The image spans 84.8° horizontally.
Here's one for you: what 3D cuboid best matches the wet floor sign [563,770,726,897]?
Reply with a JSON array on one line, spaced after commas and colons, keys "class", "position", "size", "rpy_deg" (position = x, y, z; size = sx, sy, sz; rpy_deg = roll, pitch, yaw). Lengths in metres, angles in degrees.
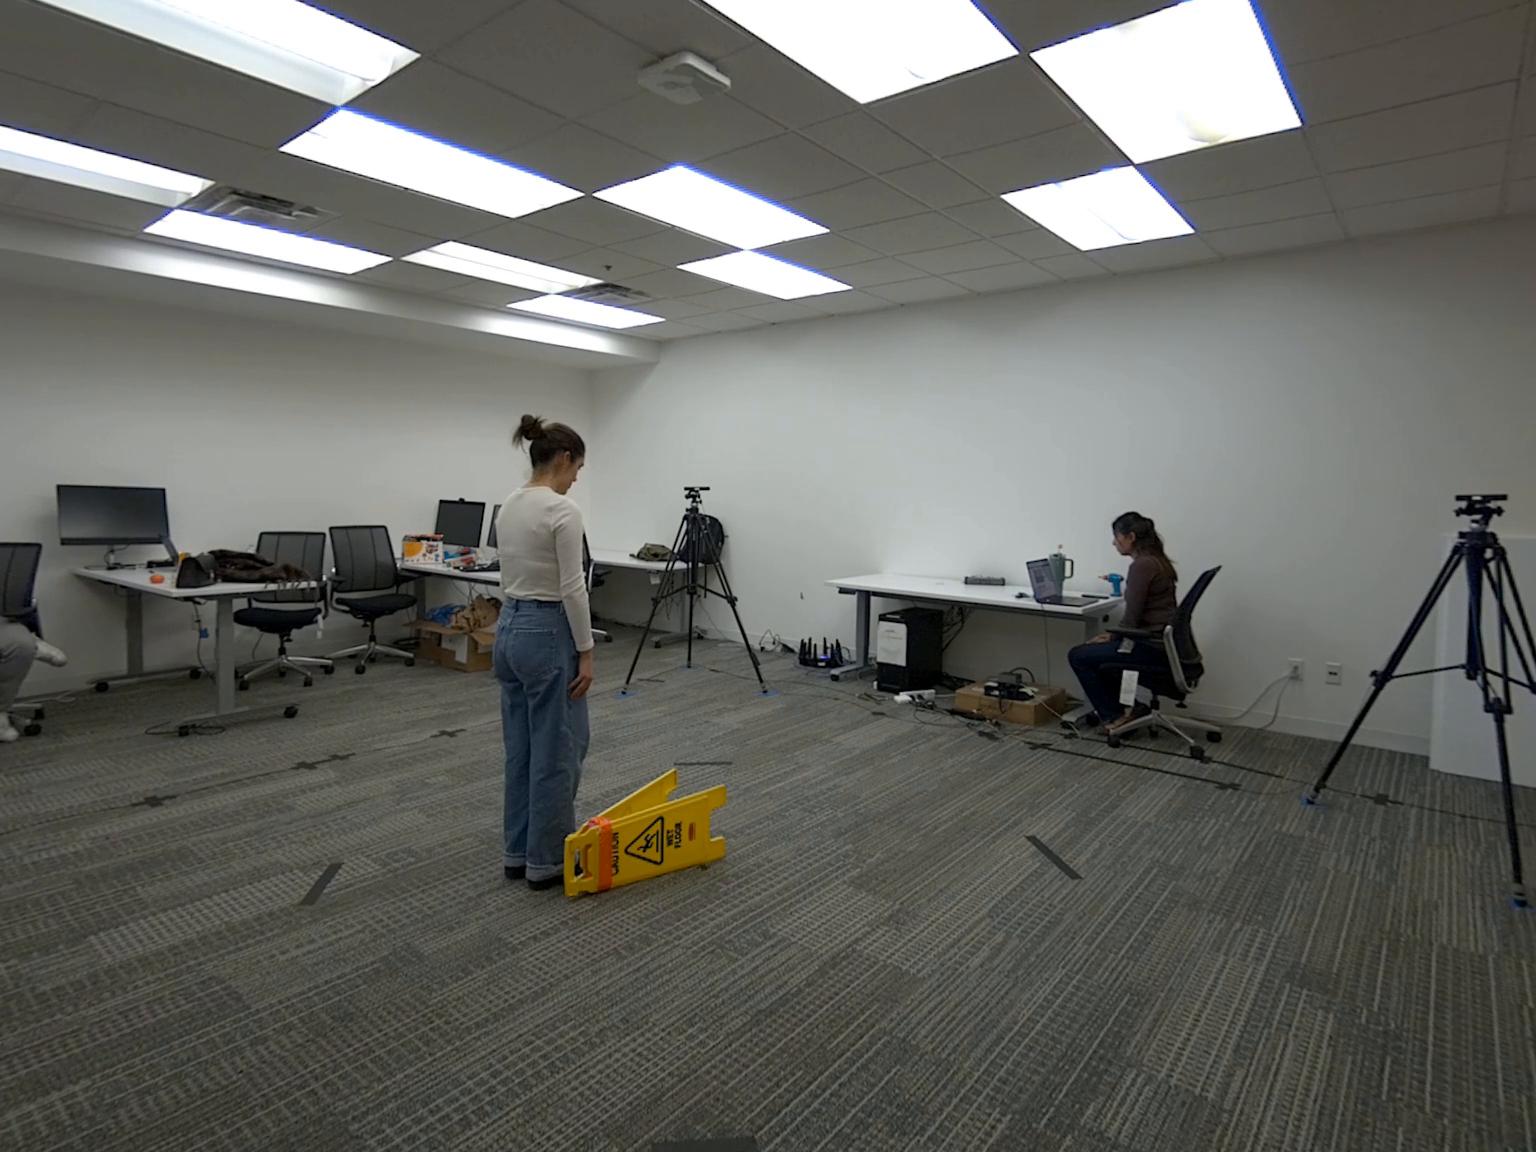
[{"class": "wet floor sign", "position": [-0.473, 0.939, 3.054], "size": [0.299, 0.281, 0.628], "rpy_deg": [3, 7, 40]}]
